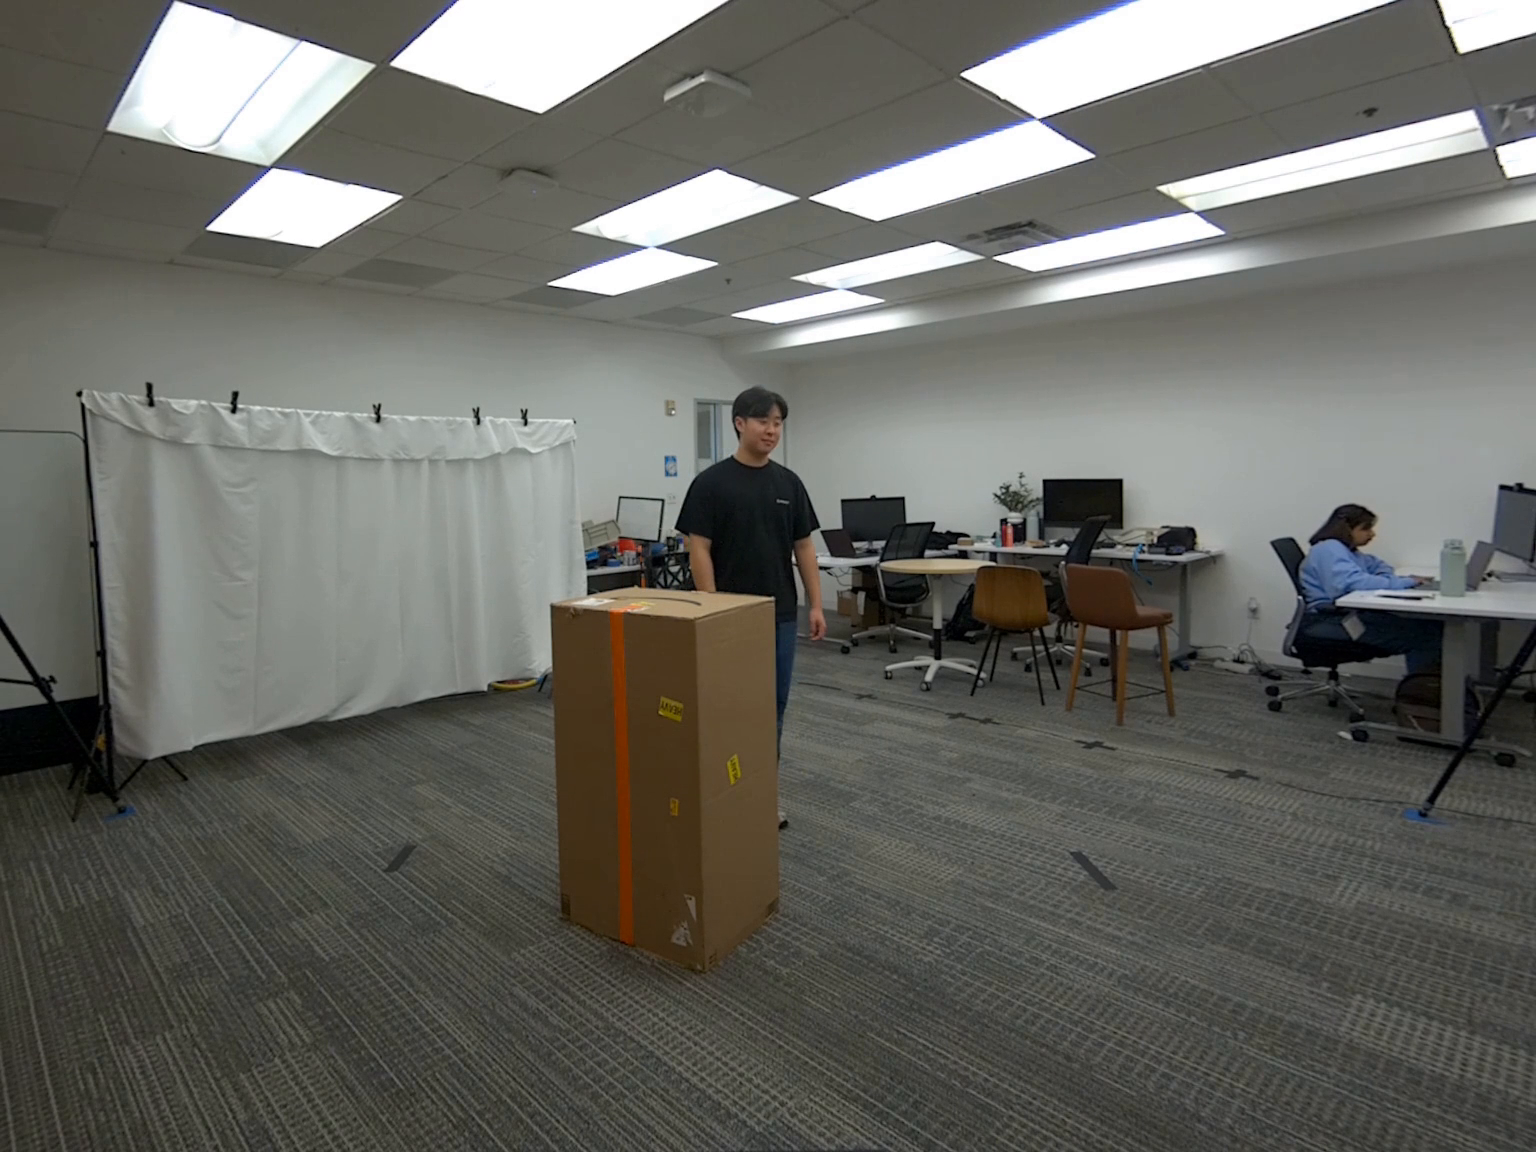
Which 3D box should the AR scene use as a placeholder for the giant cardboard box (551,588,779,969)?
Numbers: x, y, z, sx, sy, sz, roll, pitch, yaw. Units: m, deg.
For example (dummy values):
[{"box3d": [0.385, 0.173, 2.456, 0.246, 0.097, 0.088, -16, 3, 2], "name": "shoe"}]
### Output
[{"box3d": [-0.324, 0.581, 2.713, 0.601, 1.022, 0.436, 2, 6, 35], "name": "giant cardboard box"}]
